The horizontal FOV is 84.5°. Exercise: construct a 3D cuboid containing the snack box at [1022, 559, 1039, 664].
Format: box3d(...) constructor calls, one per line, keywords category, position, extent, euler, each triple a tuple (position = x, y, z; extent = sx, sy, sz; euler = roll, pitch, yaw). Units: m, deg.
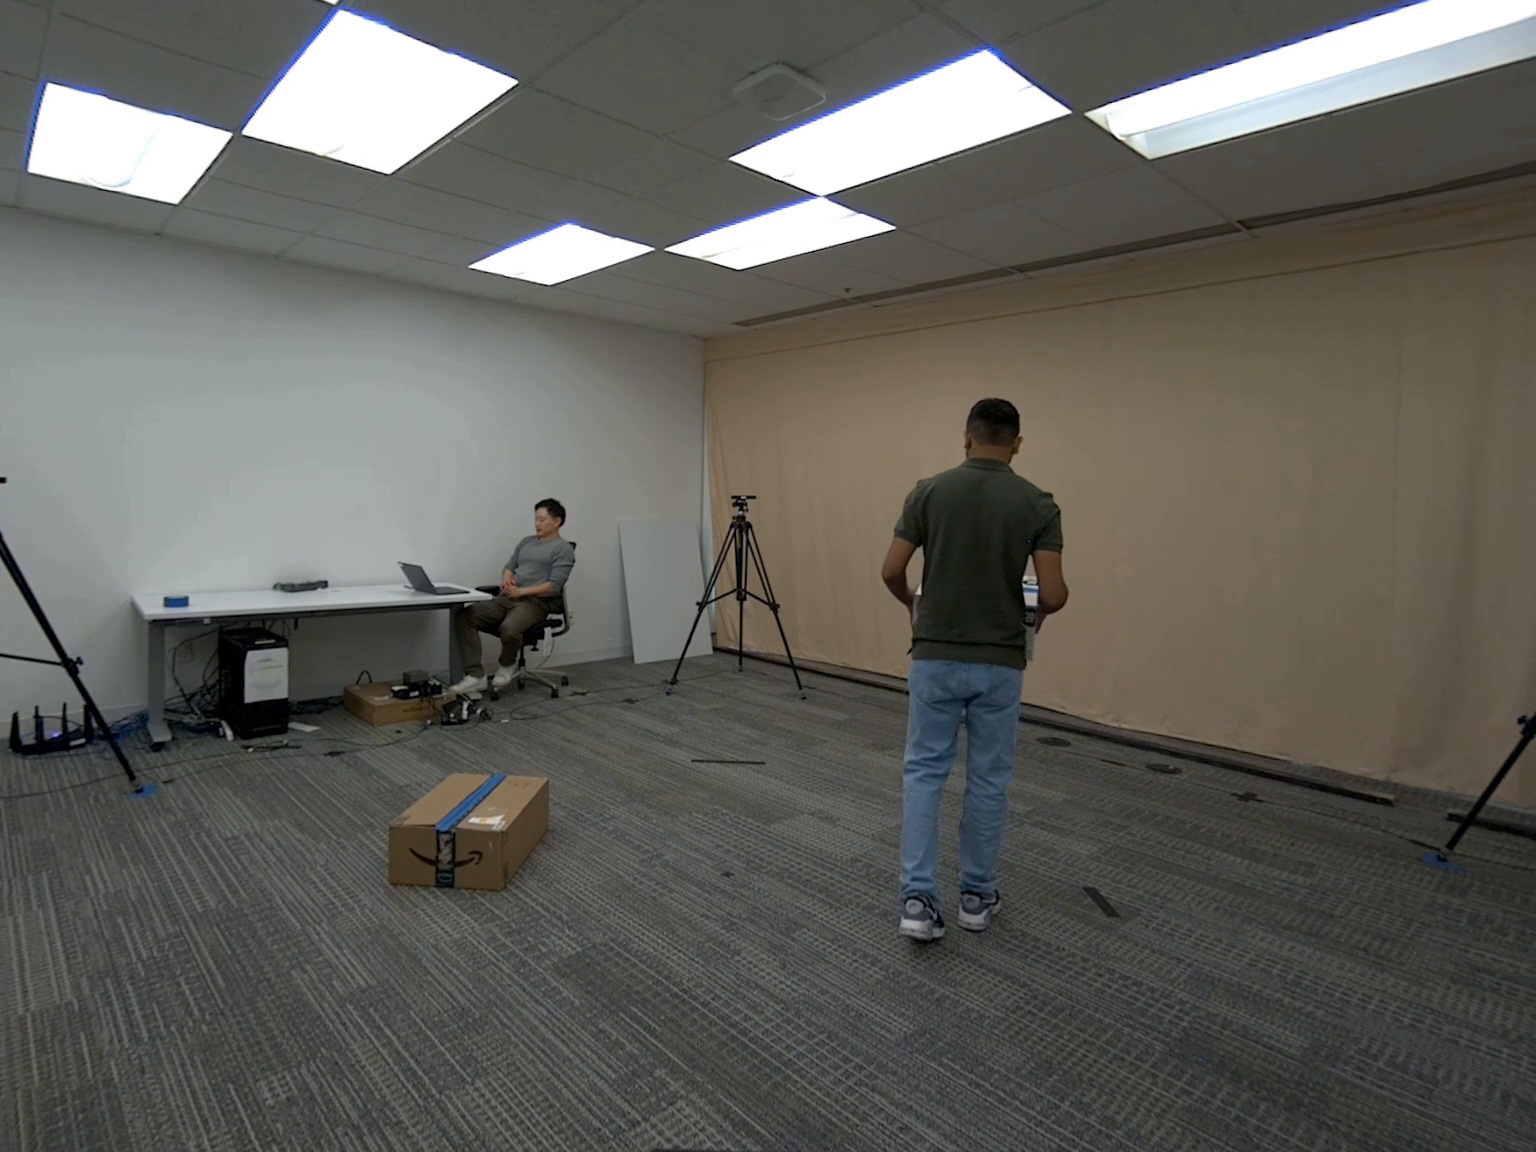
box3d(category="snack box", position=(0.758, 0.134, 3.020), extent=(0.412, 0.203, 0.338), euler=(5, 18, 20))
